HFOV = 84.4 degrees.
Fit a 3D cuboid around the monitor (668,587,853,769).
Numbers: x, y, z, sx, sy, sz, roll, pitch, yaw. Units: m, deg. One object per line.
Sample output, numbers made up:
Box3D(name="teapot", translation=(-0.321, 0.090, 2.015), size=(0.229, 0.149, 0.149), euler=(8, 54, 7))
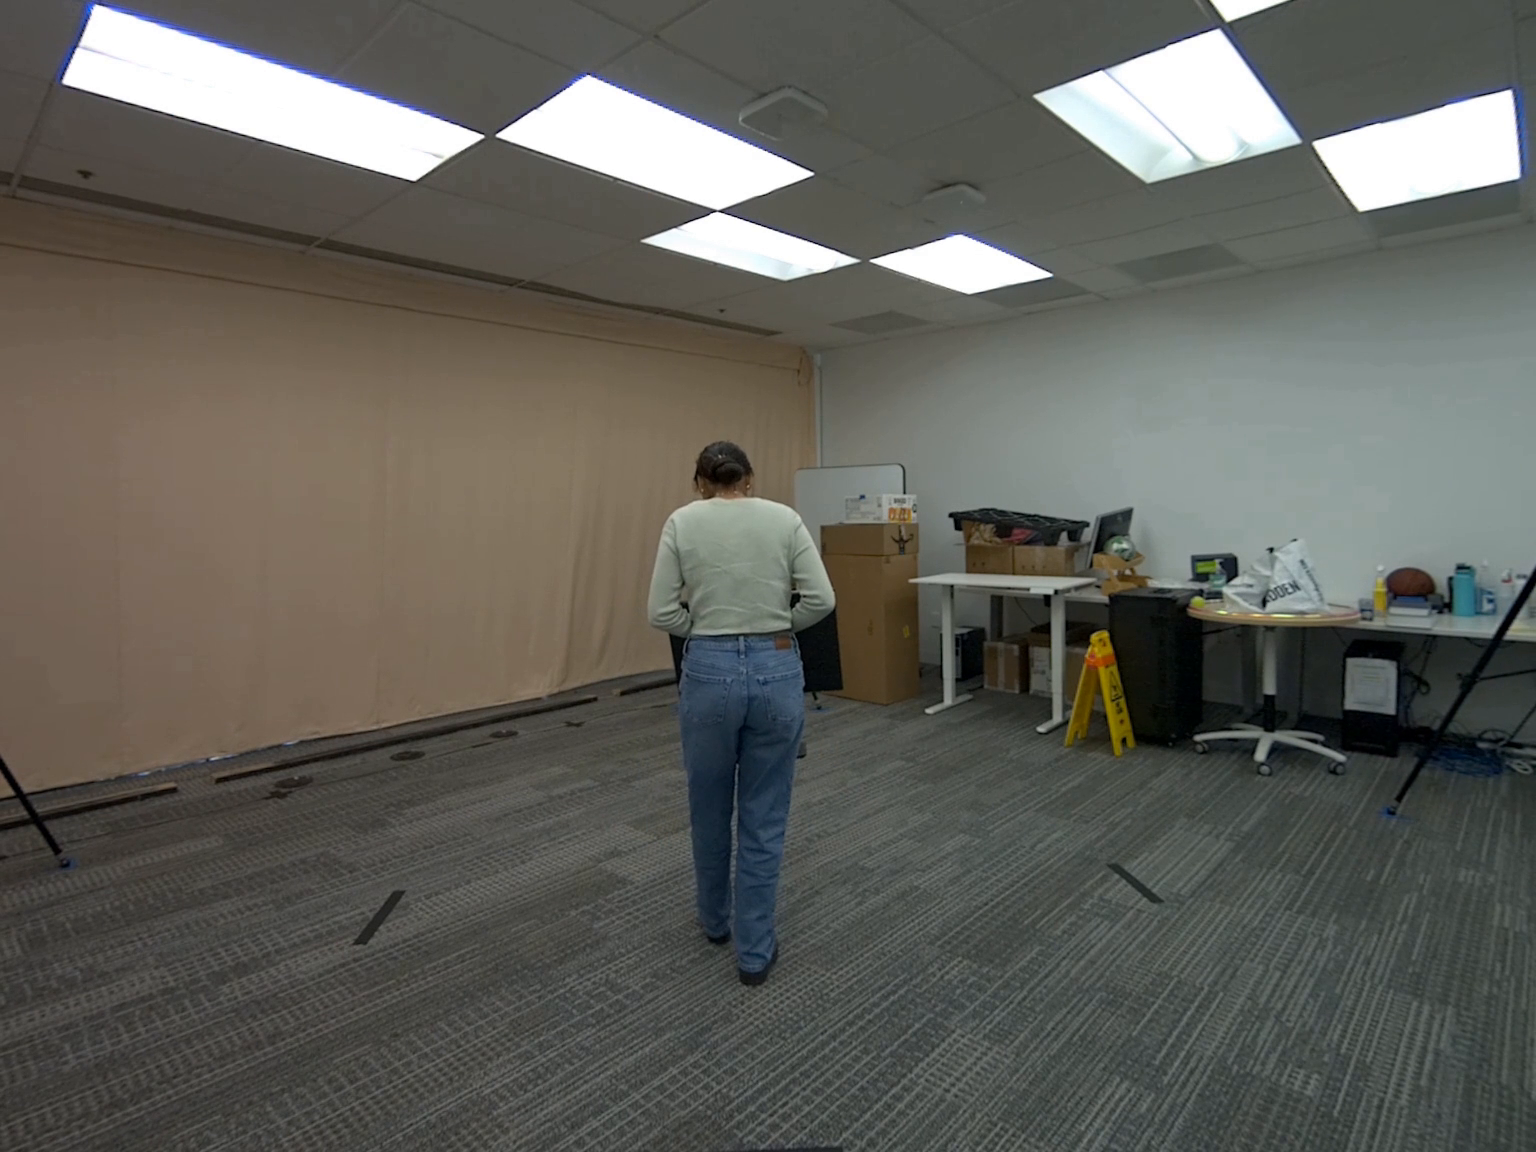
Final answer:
Box3D(name="monitor", translation=(-0.026, 0.311, 2.652), size=(0.534, 0.516, 0.173), euler=(-4, -1, 8))
